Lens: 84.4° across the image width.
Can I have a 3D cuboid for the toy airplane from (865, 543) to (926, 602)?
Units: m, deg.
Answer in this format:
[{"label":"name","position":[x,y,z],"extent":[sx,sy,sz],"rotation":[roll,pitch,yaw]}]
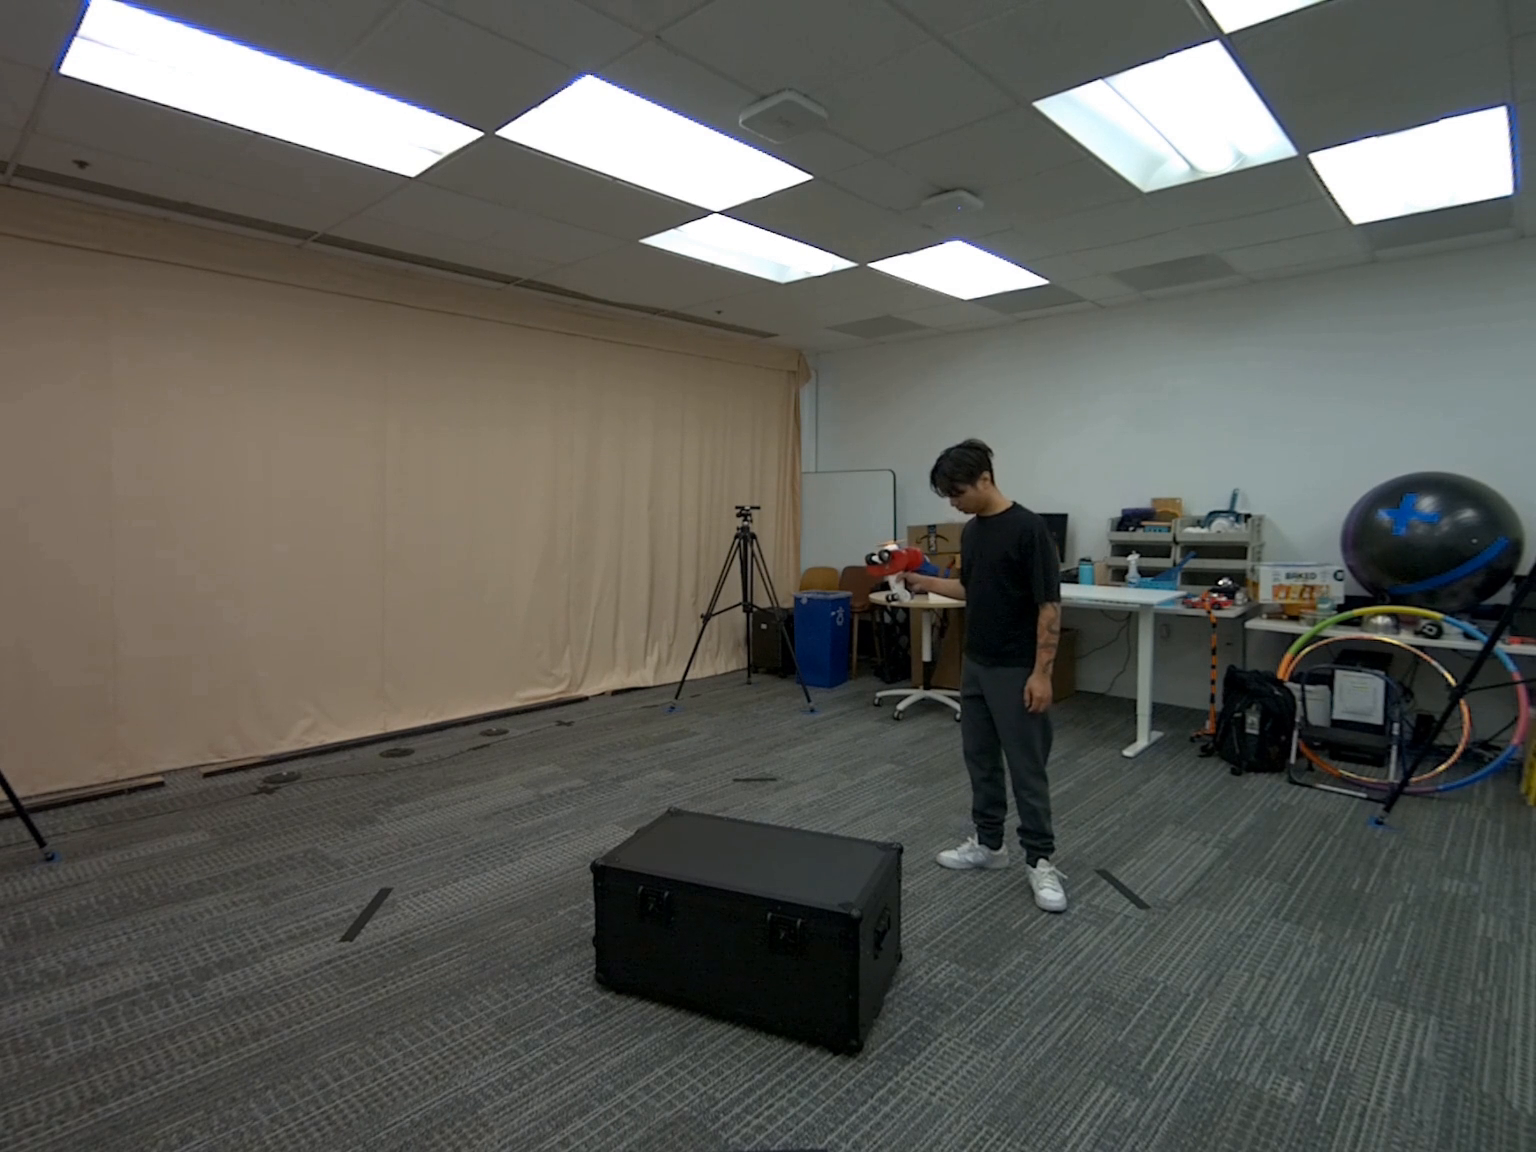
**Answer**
[{"label":"toy airplane","position":[0.518,-0.015,3.527],"extent":[0.153,0.255,0.260],"rotation":[-23,30,-31]}]
